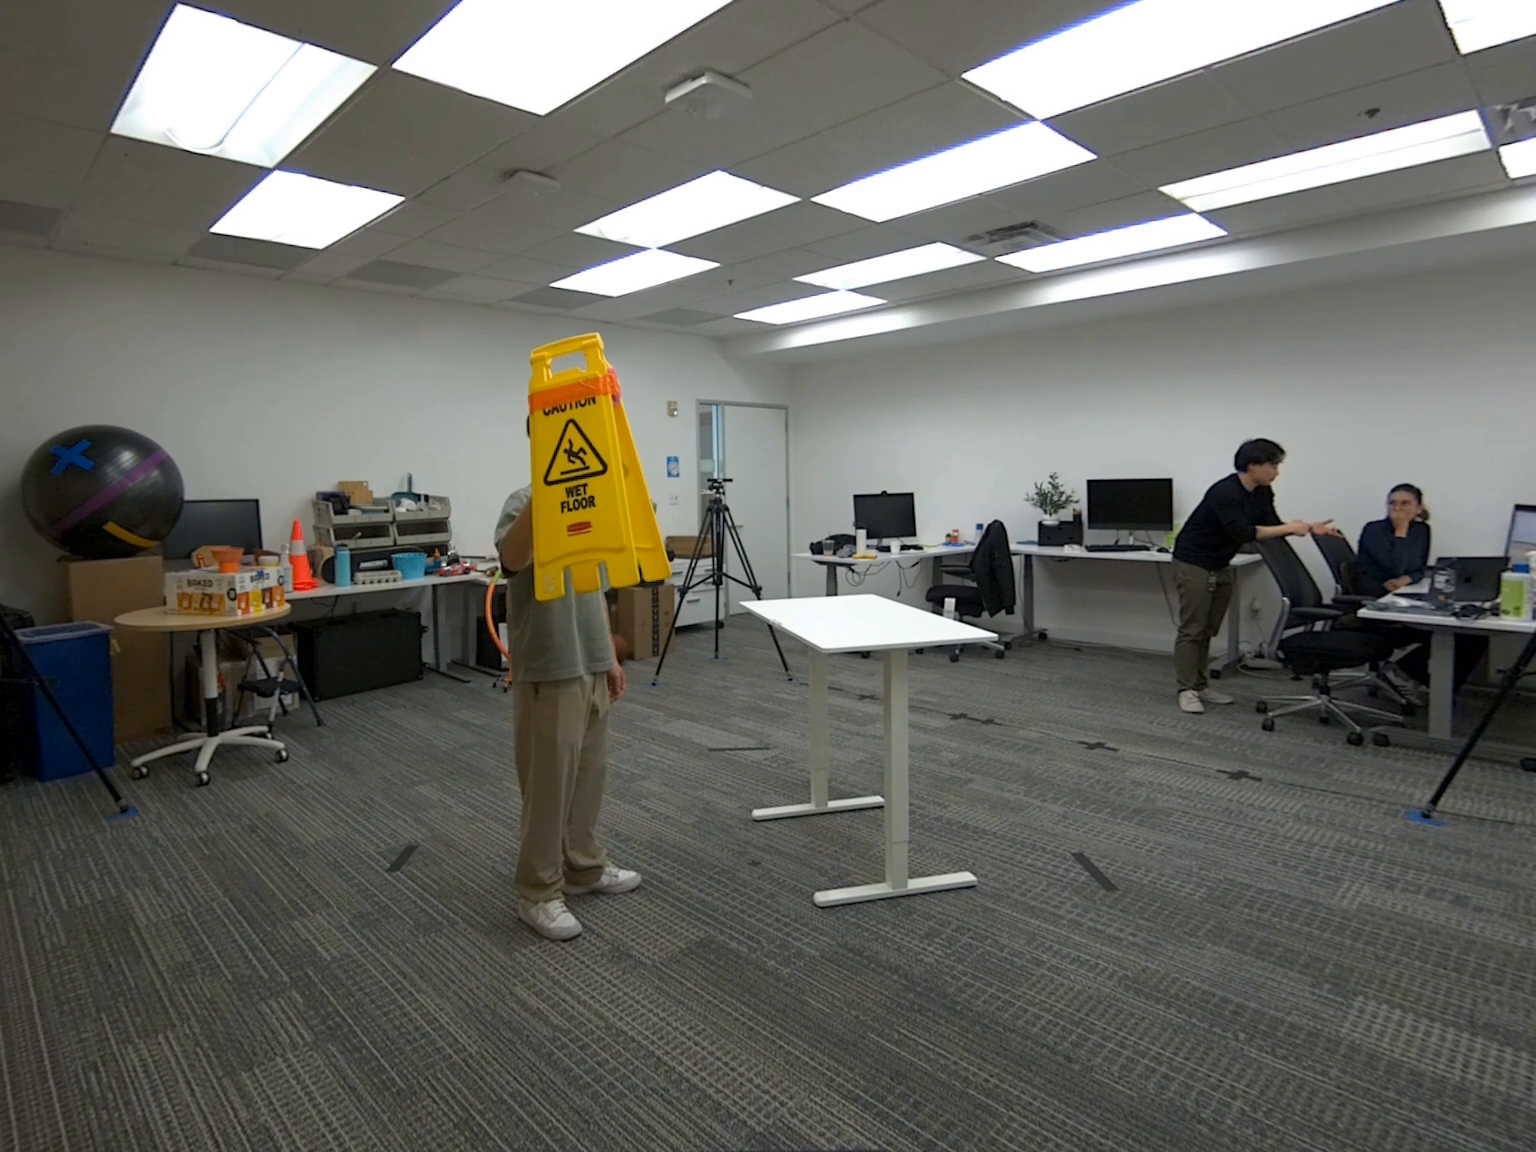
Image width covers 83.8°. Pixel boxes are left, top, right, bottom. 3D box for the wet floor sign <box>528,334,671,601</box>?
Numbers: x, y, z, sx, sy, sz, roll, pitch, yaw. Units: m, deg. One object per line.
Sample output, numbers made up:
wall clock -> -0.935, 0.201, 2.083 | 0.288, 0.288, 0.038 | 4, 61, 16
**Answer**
wet floor sign -> -0.475, -0.285, 2.188 | 0.286, 0.647, 0.285 | -9, -1, 16
